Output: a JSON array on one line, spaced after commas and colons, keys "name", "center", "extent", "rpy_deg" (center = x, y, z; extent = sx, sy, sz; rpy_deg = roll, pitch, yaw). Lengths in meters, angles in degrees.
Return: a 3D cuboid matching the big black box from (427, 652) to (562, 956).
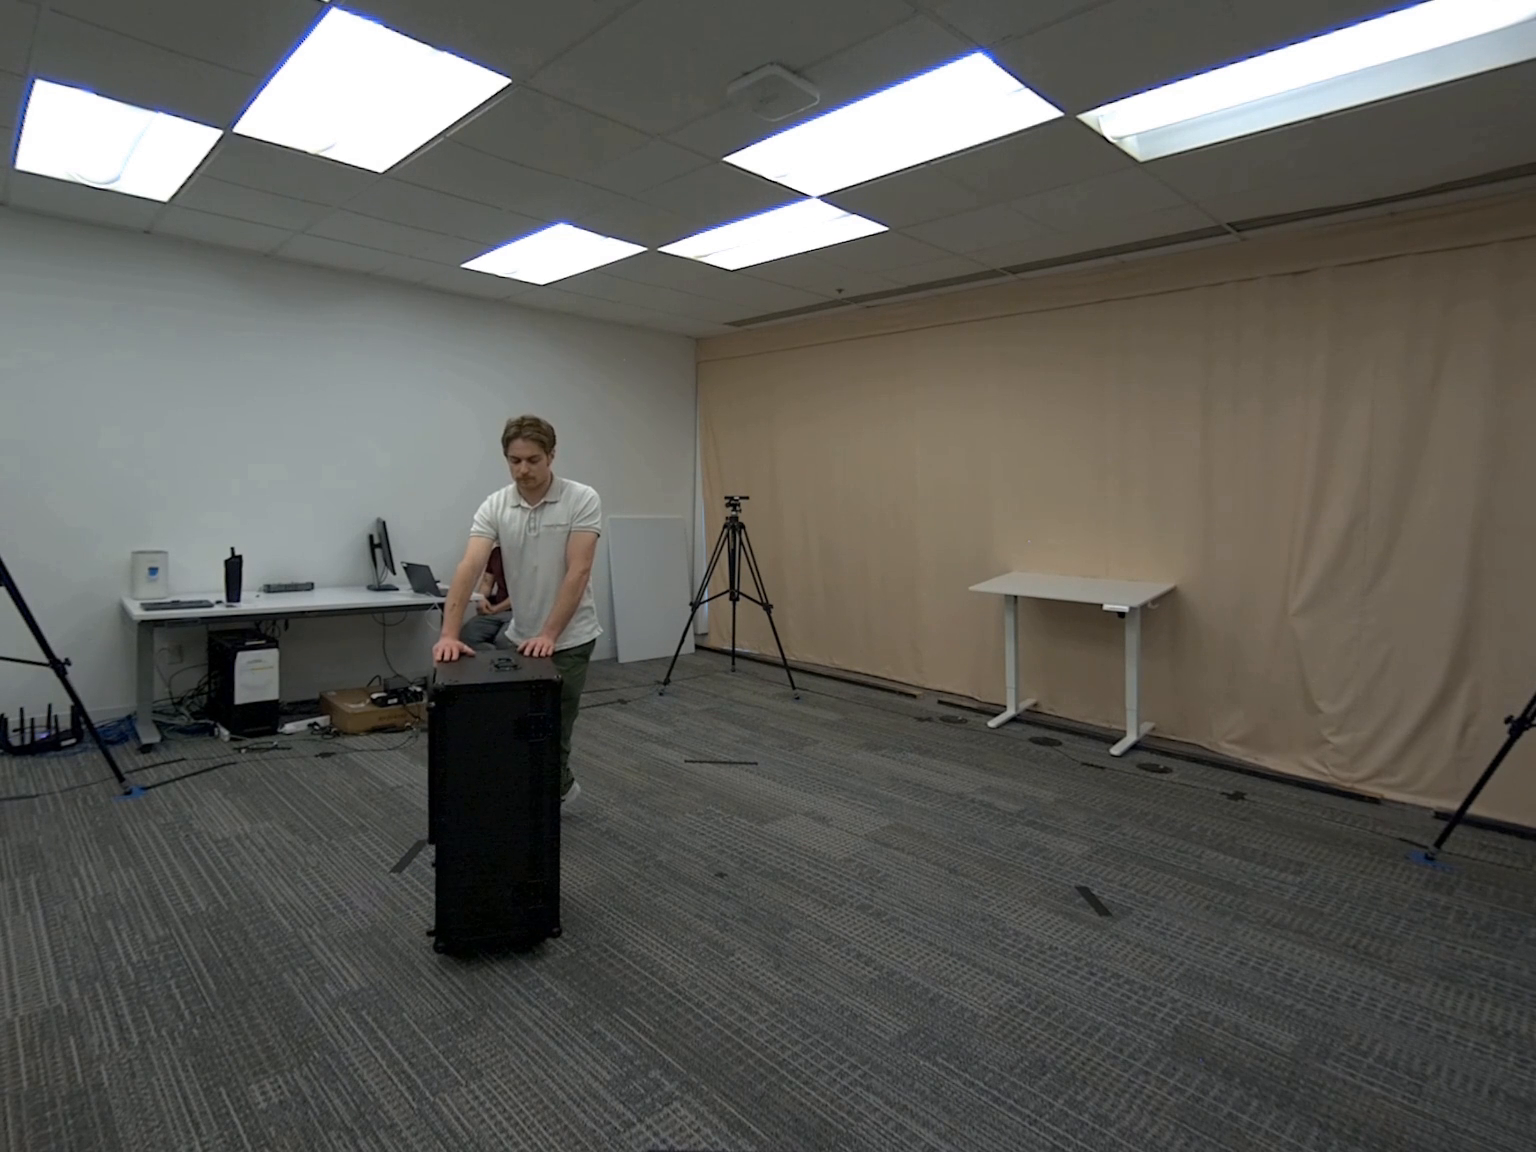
[{"name": "big black box", "center": [-0.866, 0.712, 2.650], "extent": [0.379, 0.866, 0.533], "rpy_deg": [0, 4, -21]}]
